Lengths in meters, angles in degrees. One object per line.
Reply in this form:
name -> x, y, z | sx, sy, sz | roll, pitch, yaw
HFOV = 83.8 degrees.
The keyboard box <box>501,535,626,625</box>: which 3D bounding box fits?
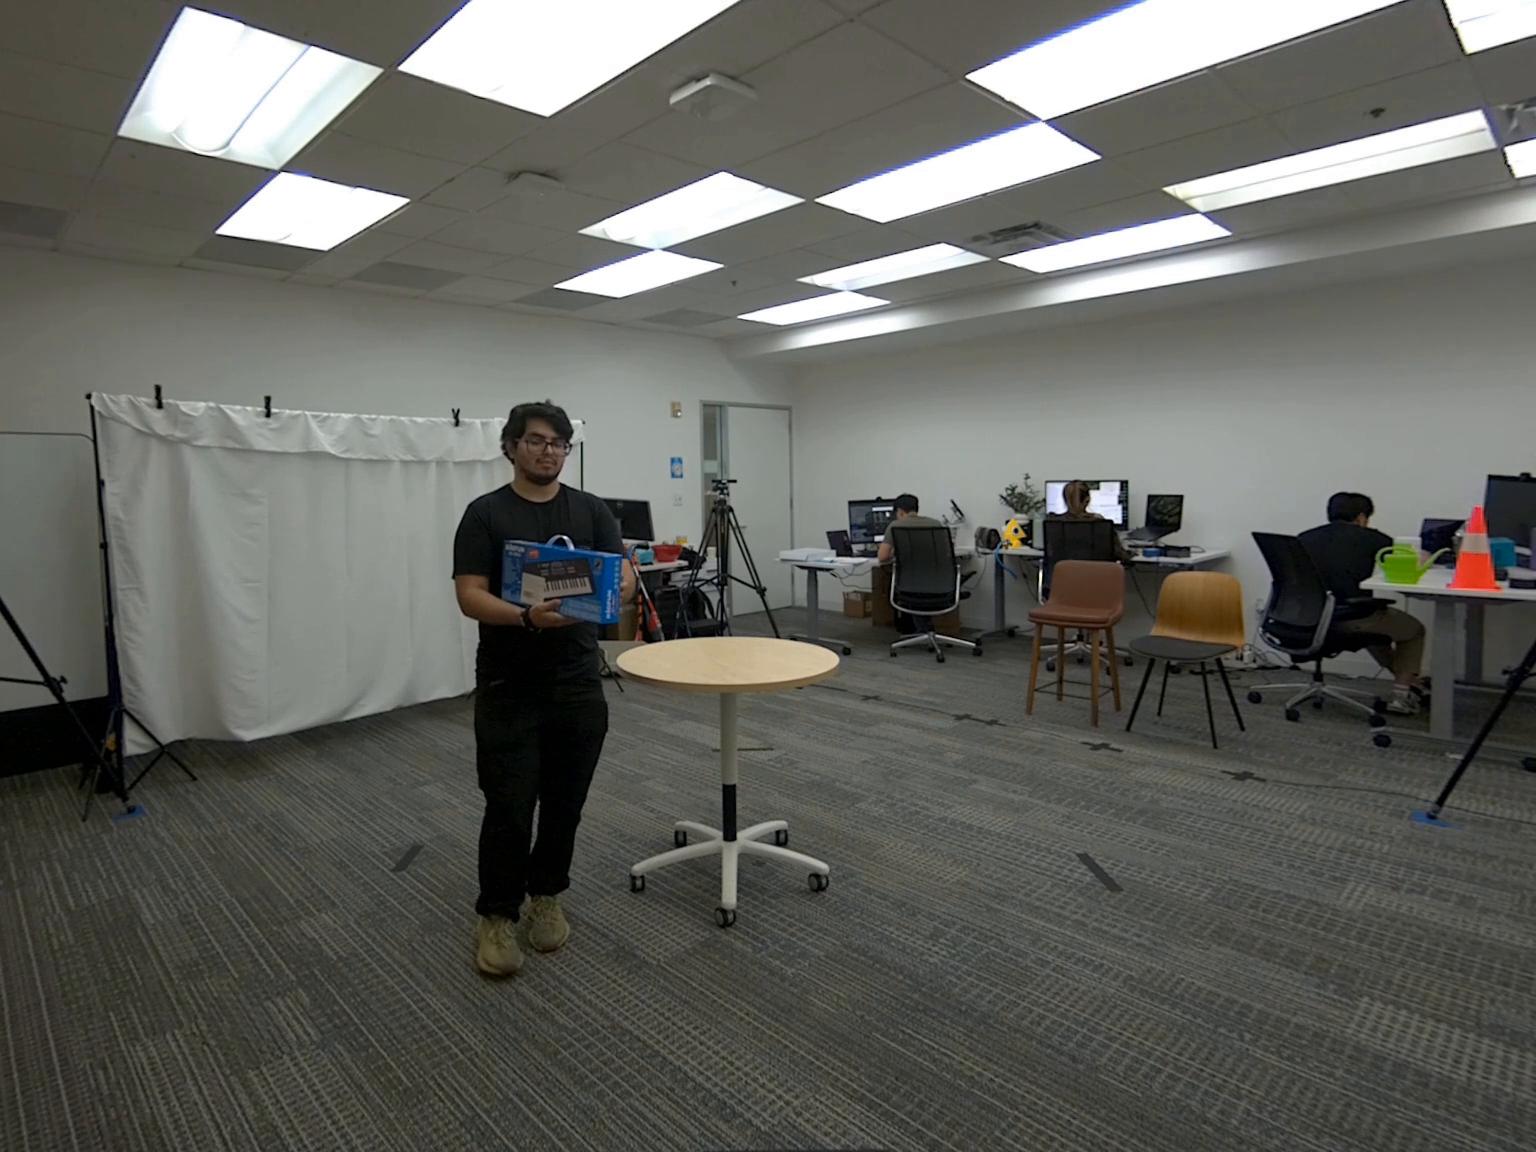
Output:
keyboard box -> -0.566, 0.016, 2.285 | 0.451, 0.175, 0.057 | 8, 5, 41
